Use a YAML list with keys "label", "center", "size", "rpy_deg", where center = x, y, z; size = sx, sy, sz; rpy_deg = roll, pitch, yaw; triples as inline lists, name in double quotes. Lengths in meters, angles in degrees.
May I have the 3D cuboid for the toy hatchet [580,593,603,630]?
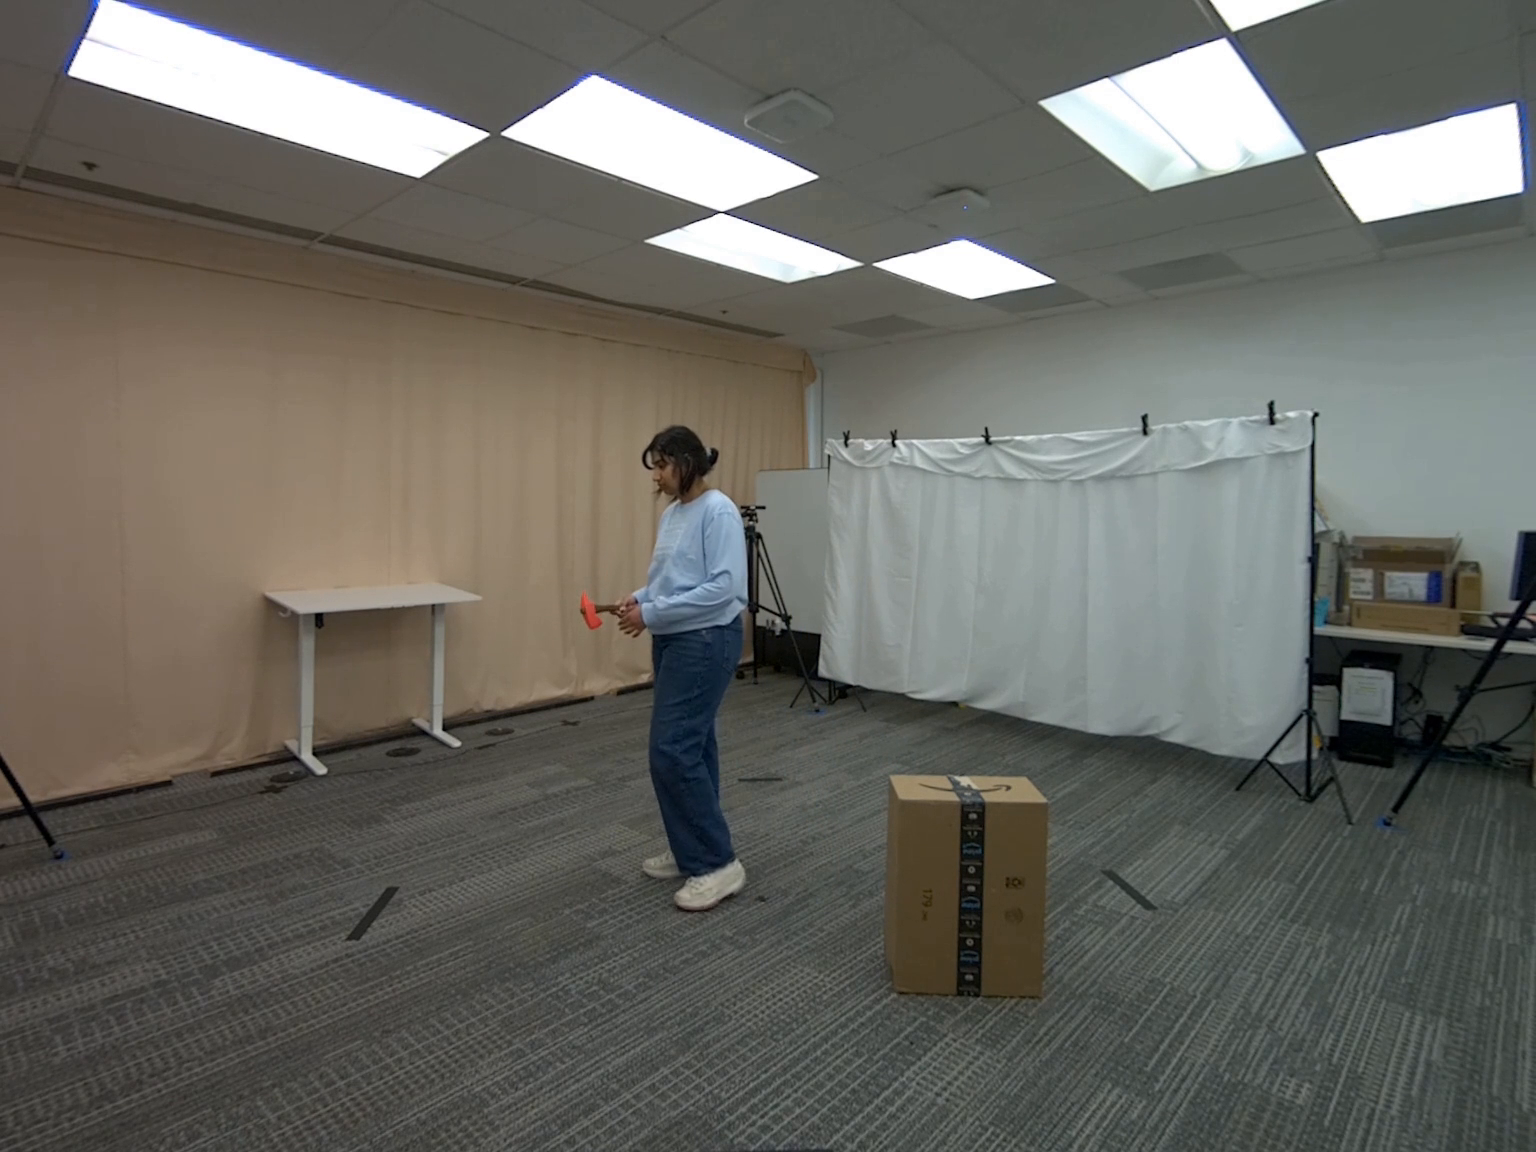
- label: "toy hatchet"
  center: [-0.559, 0.141, 3.020]
  size: [0.030, 0.133, 0.260]
  rpy_deg: [-26, -35, 35]
